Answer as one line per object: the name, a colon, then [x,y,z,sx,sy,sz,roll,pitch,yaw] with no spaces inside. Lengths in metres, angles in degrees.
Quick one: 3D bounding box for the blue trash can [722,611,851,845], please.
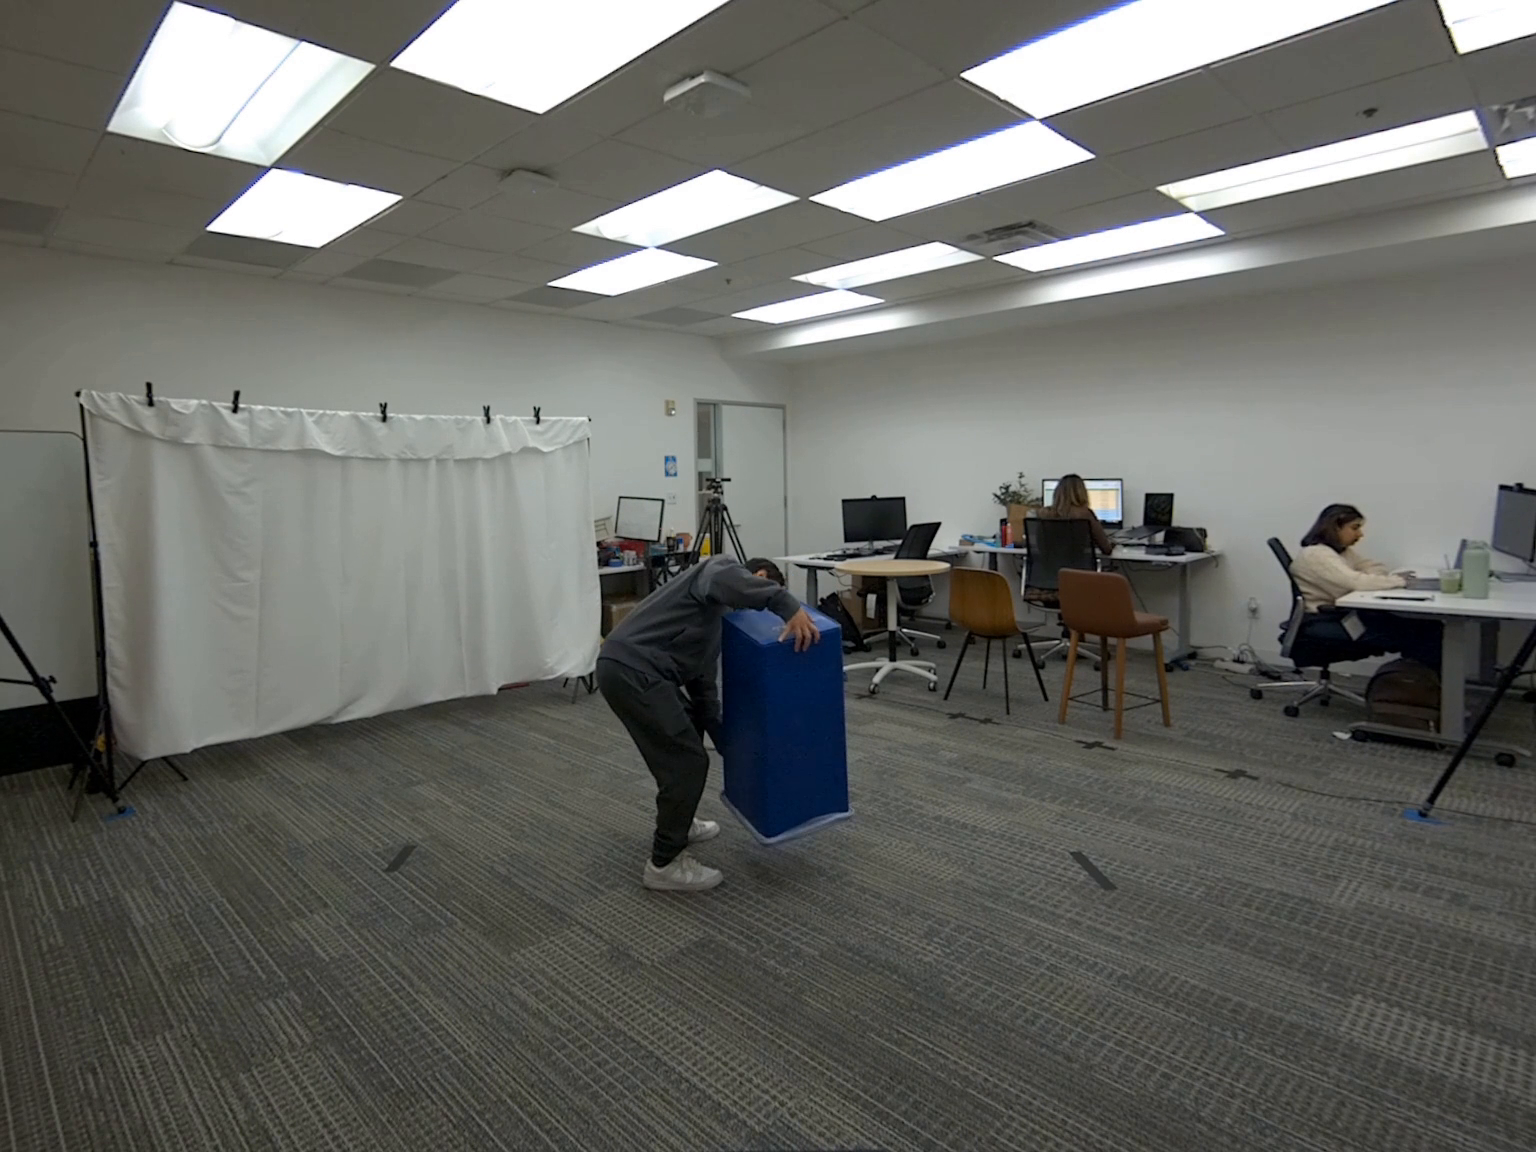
blue trash can: [0.050,0.485,2.942,0.371,0.703,0.387,-10,19,-26]
